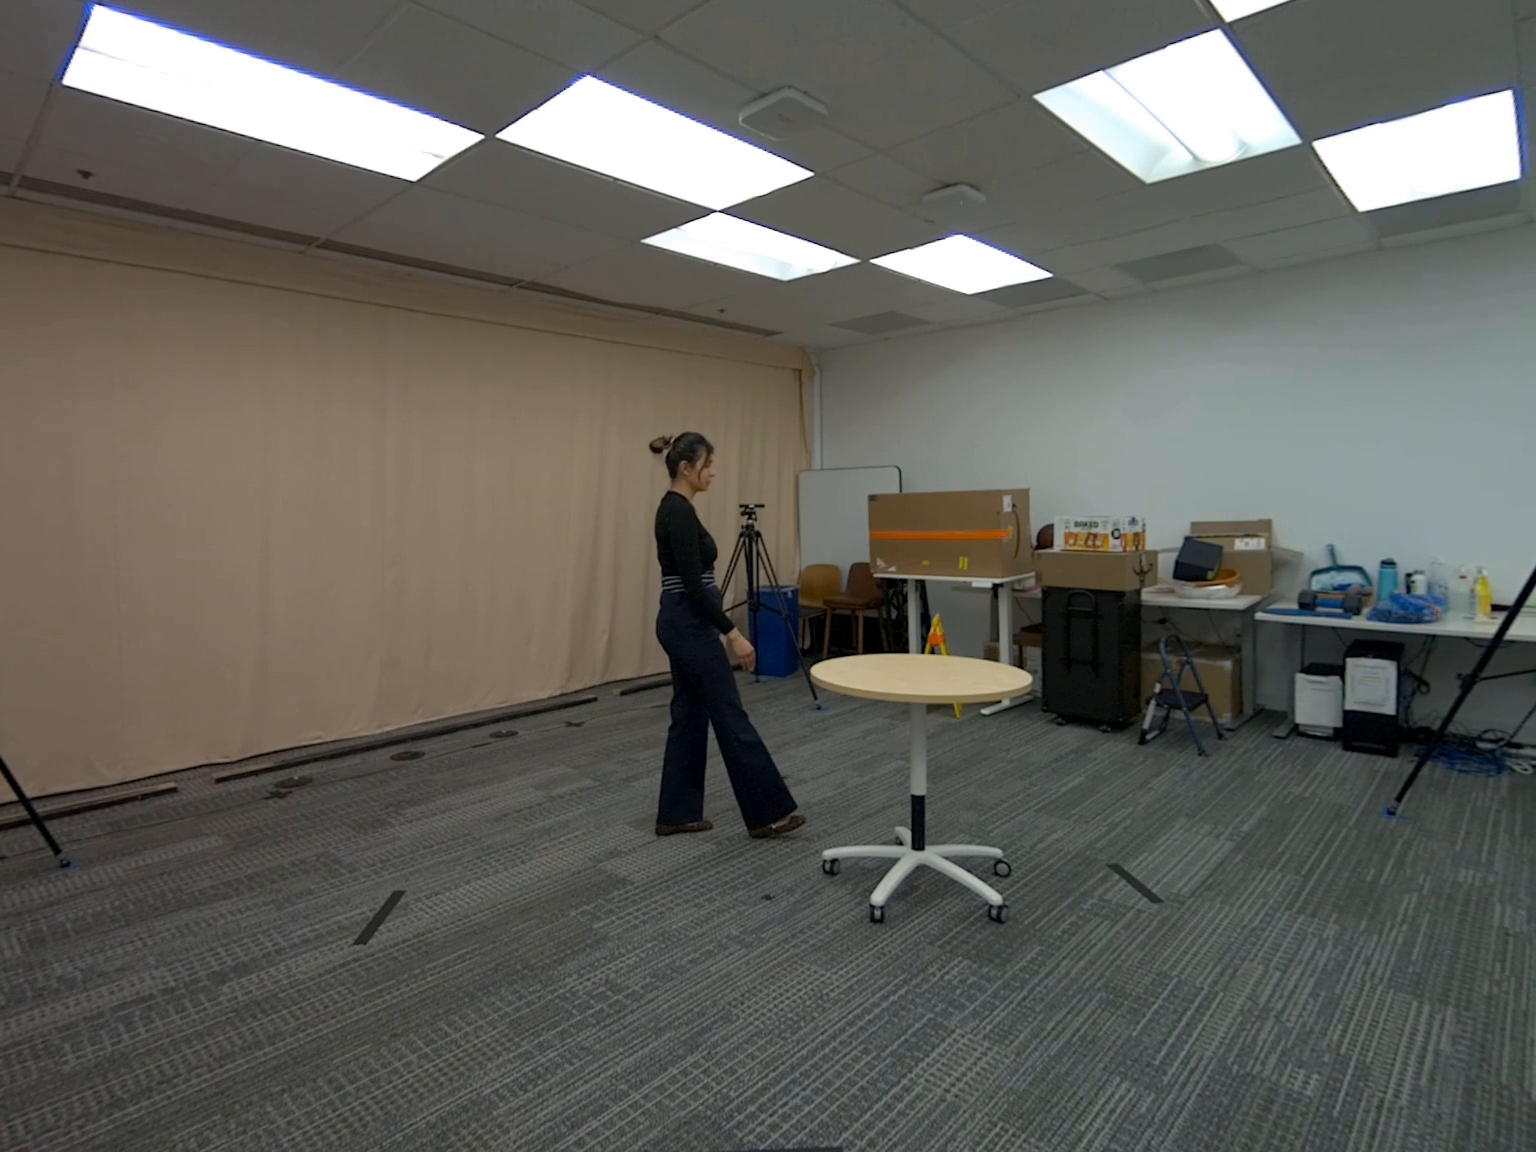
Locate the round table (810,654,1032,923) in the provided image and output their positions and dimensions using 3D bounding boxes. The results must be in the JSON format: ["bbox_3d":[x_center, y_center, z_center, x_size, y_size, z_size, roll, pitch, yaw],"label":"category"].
[{"bbox_3d":[0.545,0.738,3.023,0.763,0.792,0.766,-1,3,-2],"label":"round table"}]
